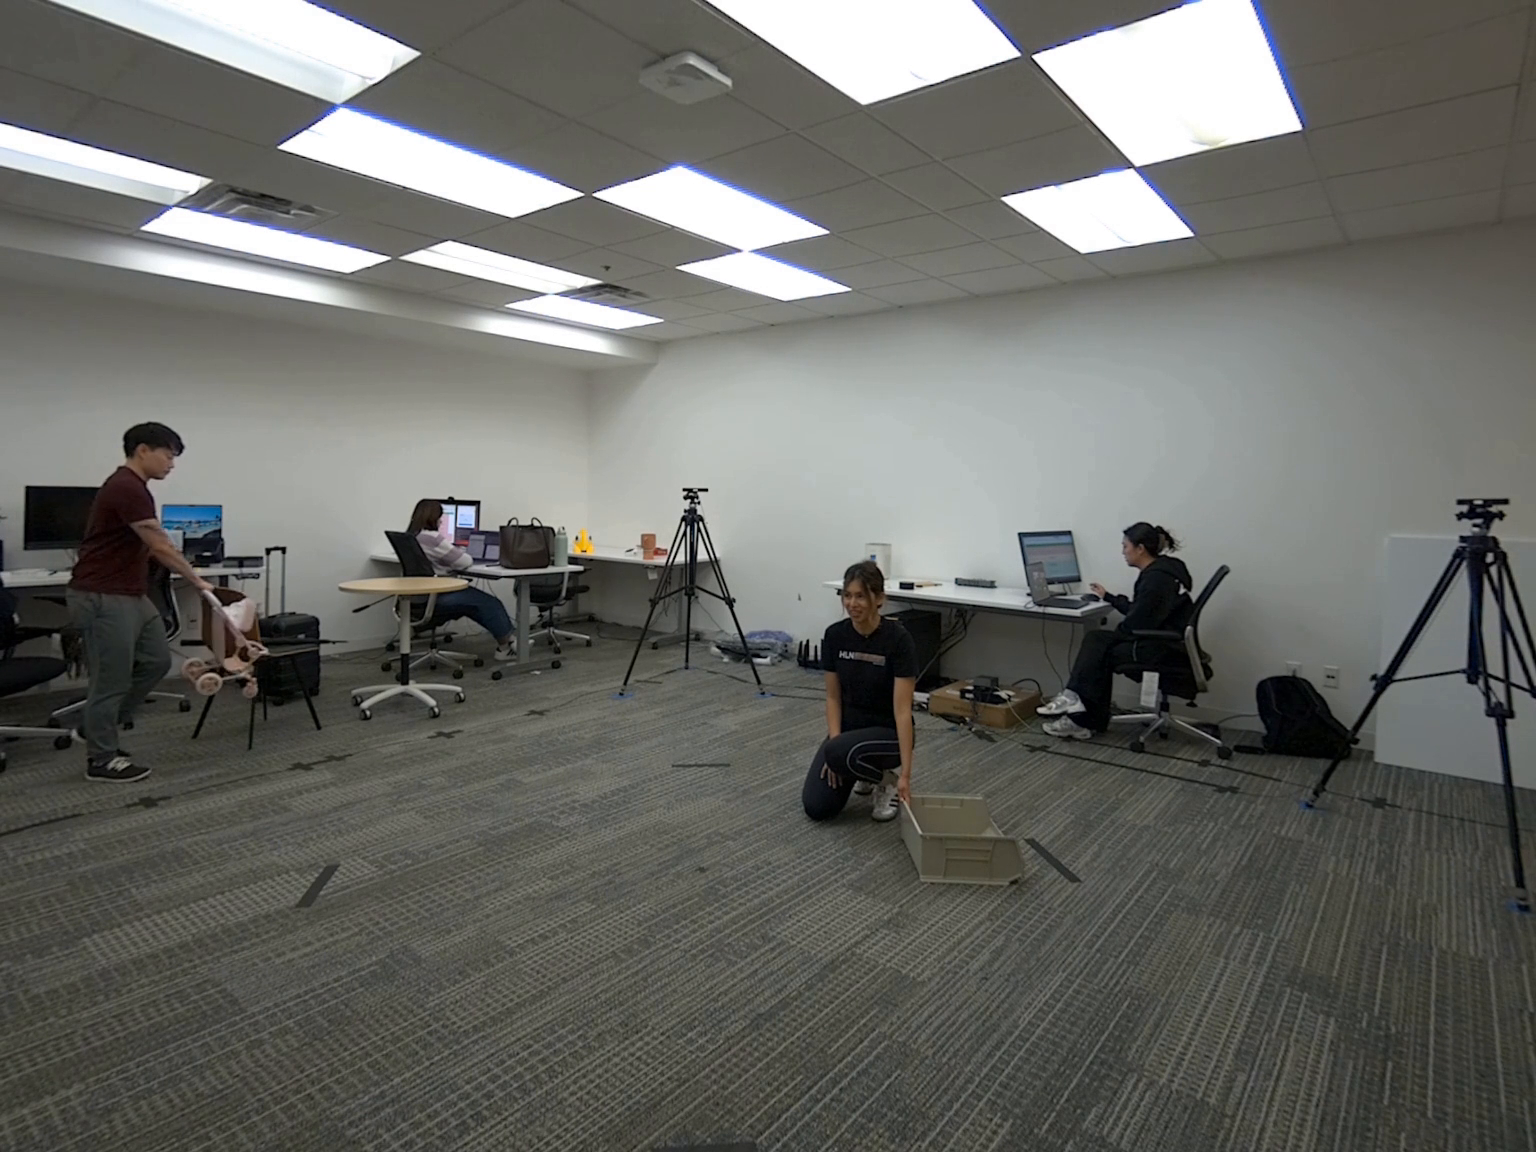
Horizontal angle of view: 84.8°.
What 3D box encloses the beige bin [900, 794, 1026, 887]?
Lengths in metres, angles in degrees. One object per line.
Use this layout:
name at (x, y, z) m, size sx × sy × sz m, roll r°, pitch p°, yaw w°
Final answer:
beige bin at (0.727, 0.993, 3.247) m, size 0.377 × 0.188 × 0.424 m, roll 0°, pitch 5°, yaw -1°
